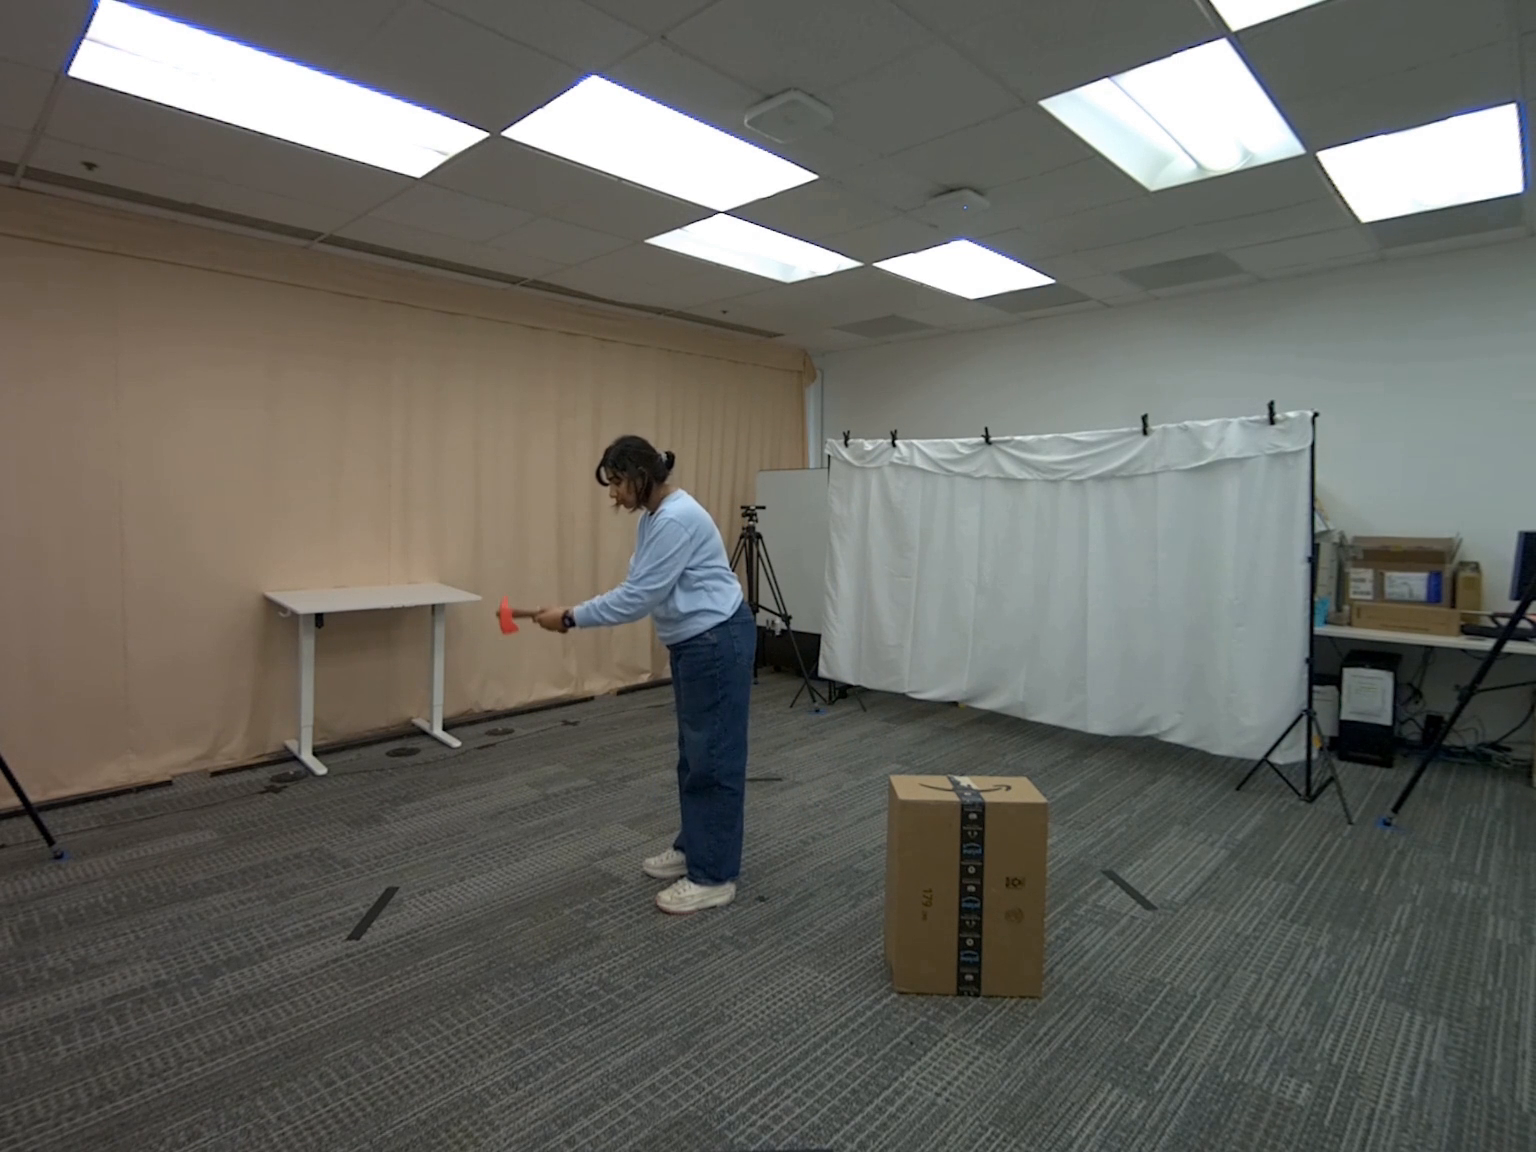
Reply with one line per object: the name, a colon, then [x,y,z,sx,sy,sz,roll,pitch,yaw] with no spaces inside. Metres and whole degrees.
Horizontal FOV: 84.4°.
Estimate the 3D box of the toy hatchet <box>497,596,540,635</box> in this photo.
toy hatchet: [-0.800,0.165,2.942,0.264,0.132,0.030,23,-25,-19]
